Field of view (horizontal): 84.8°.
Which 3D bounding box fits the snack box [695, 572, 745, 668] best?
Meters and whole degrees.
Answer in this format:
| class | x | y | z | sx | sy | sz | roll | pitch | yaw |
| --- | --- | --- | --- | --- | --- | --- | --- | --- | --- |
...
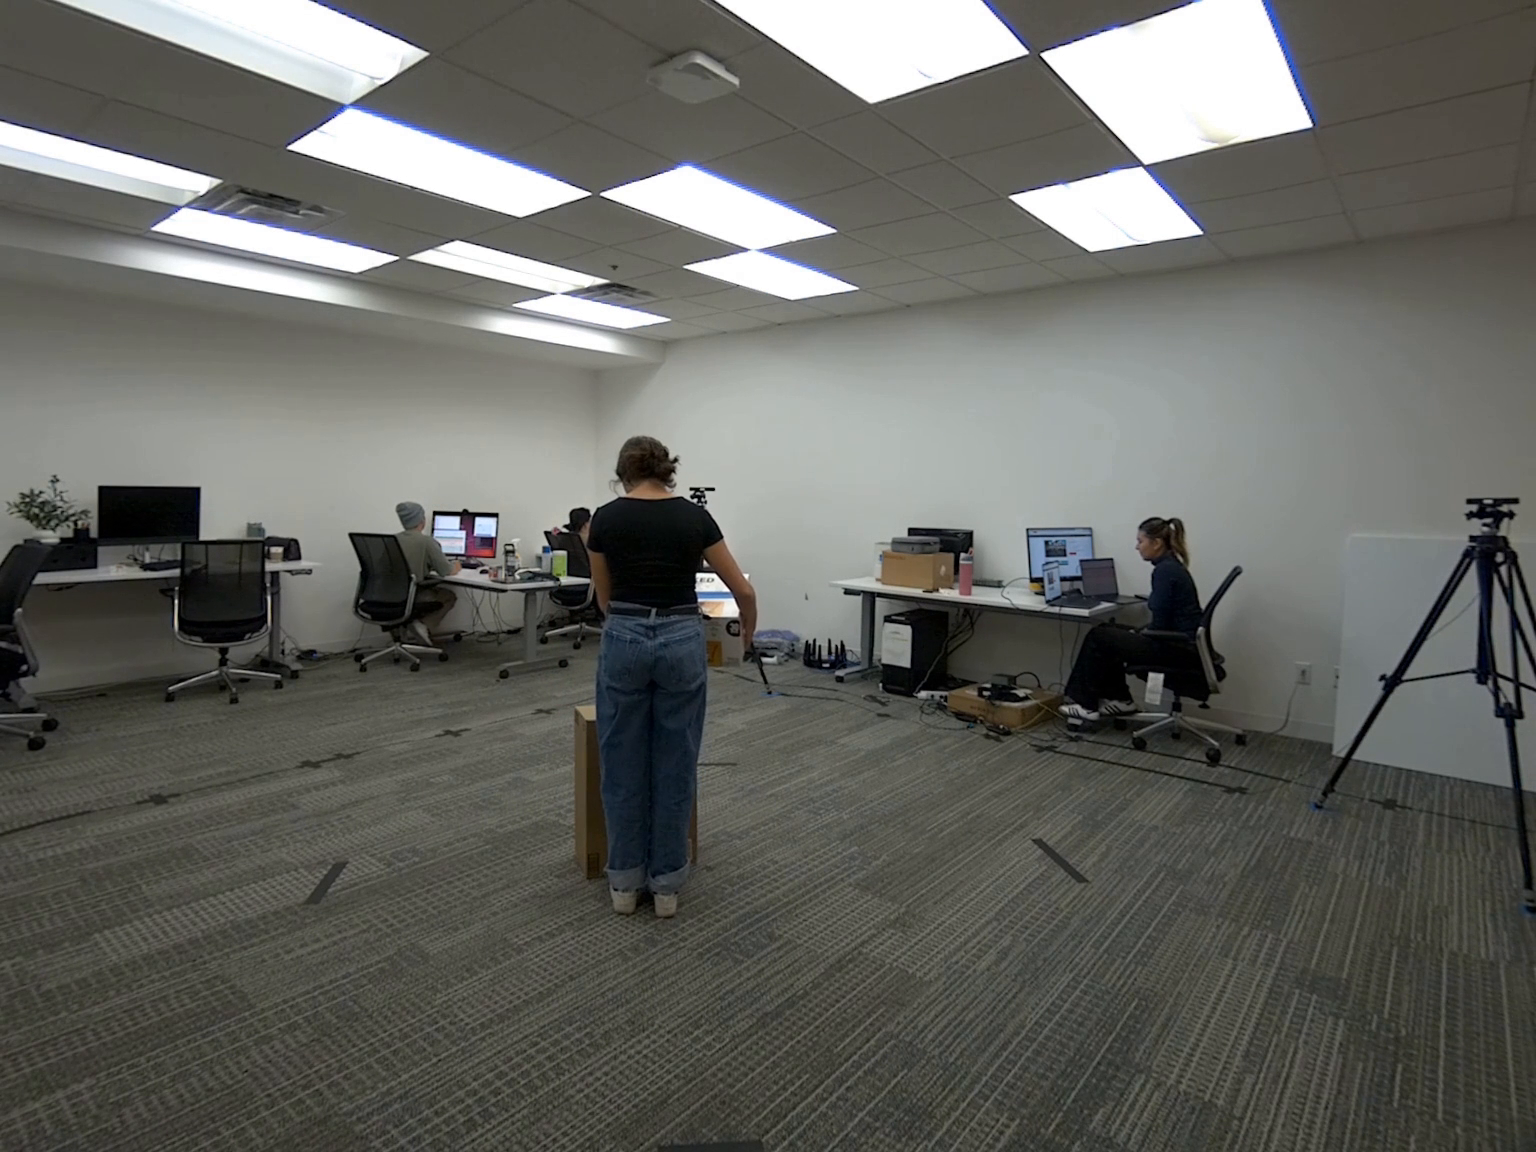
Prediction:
| class | x | y | z | sx | sy | sz | roll | pitch | yaw |
| --- | --- | --- | --- | --- | --- | --- | --- | --- | --- |
| snack box | -0.292 | 0.150 | 3.070 | 0.408 | 0.201 | 0.346 | 1 | 25 | 6 |
